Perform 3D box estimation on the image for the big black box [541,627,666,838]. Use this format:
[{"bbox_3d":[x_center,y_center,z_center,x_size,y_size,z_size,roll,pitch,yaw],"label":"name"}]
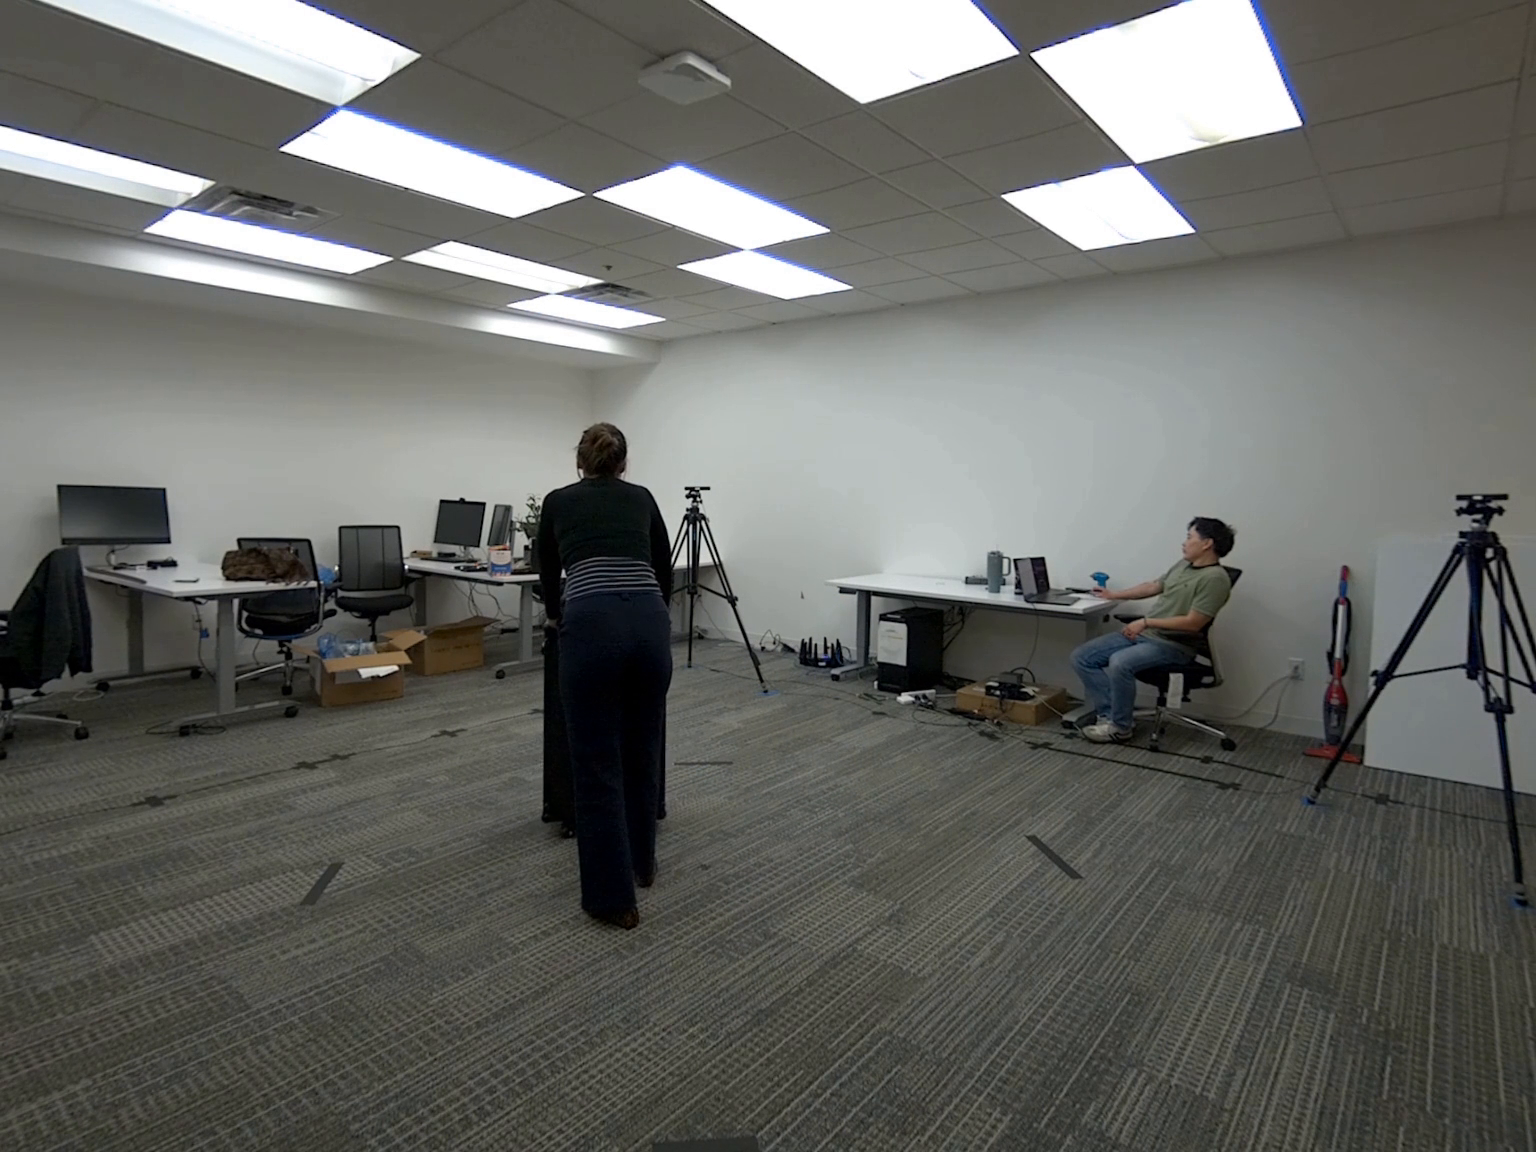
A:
[{"bbox_3d":[-0.678,0.596,3.502,0.517,0.859,0.401,1,4,-8],"label":"big black box"}]
